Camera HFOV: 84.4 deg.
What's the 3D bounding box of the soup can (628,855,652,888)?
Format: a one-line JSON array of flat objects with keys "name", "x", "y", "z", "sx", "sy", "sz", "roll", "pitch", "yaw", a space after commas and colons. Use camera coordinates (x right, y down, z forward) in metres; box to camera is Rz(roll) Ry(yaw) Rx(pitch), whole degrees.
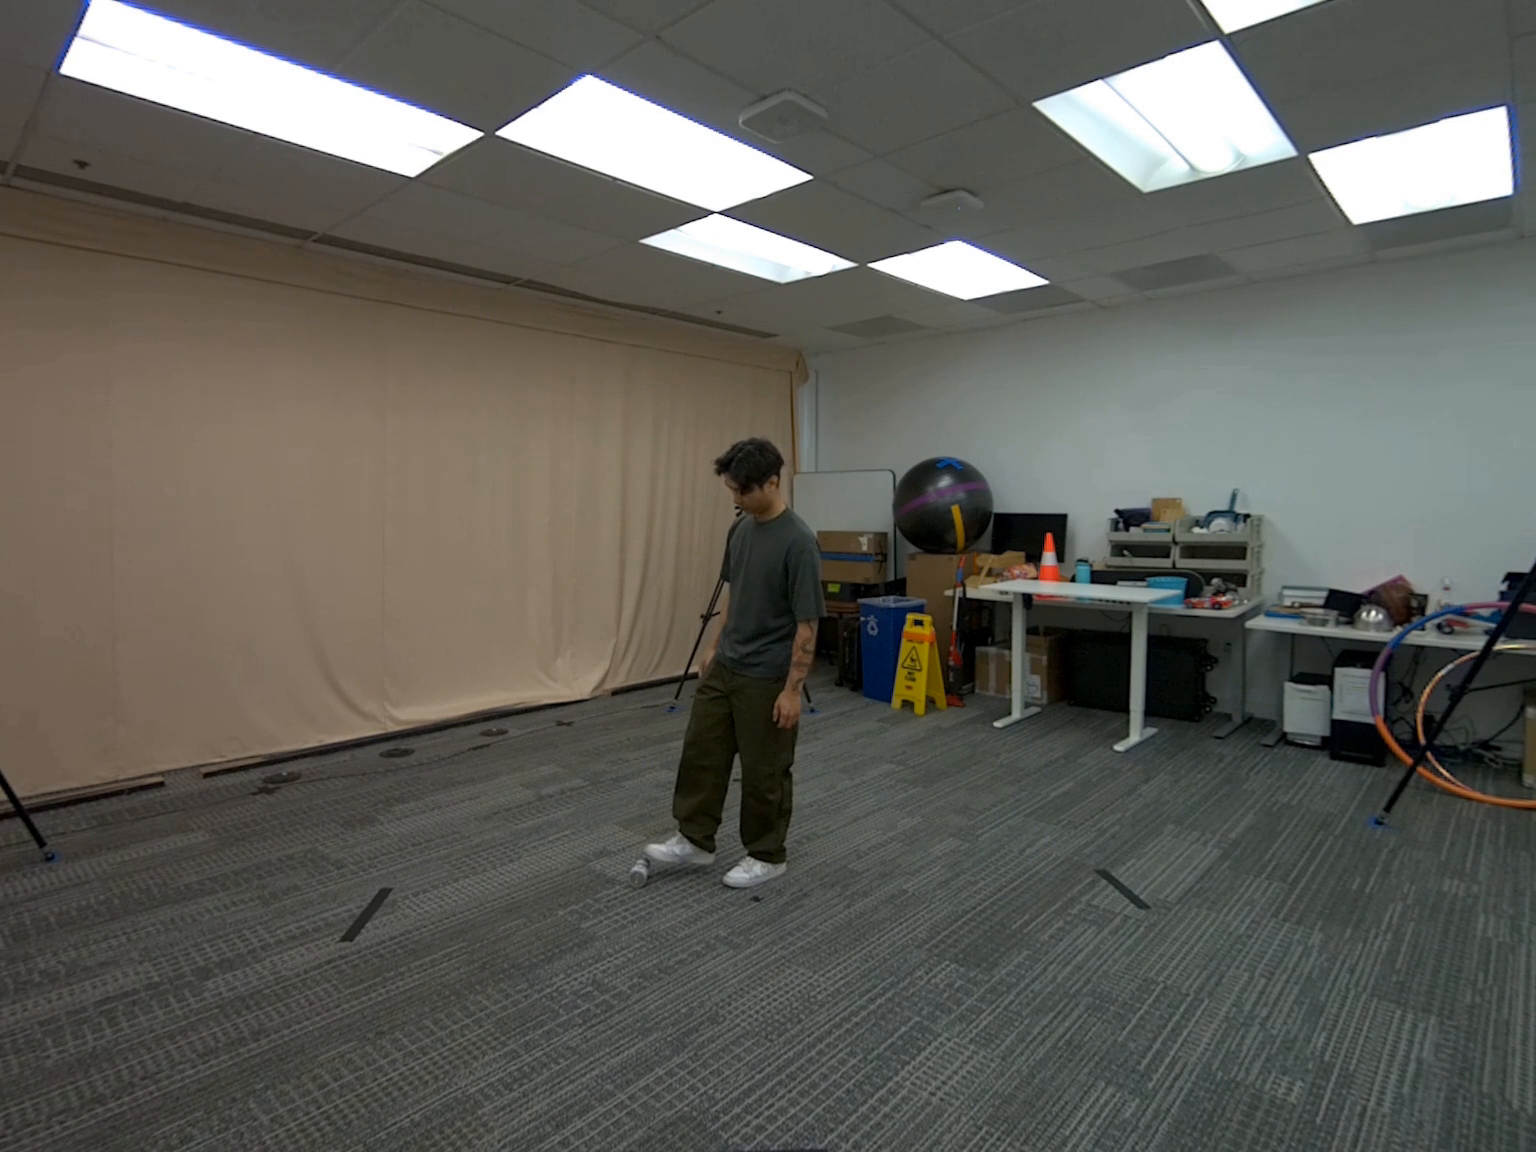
[{"name": "soup can", "x": -0.476, "y": 1.099, "z": 3.130, "sx": 0.067, "sy": 0.067, "sz": 0.121, "roll": 0, "pitch": -2, "yaw": 2}]
